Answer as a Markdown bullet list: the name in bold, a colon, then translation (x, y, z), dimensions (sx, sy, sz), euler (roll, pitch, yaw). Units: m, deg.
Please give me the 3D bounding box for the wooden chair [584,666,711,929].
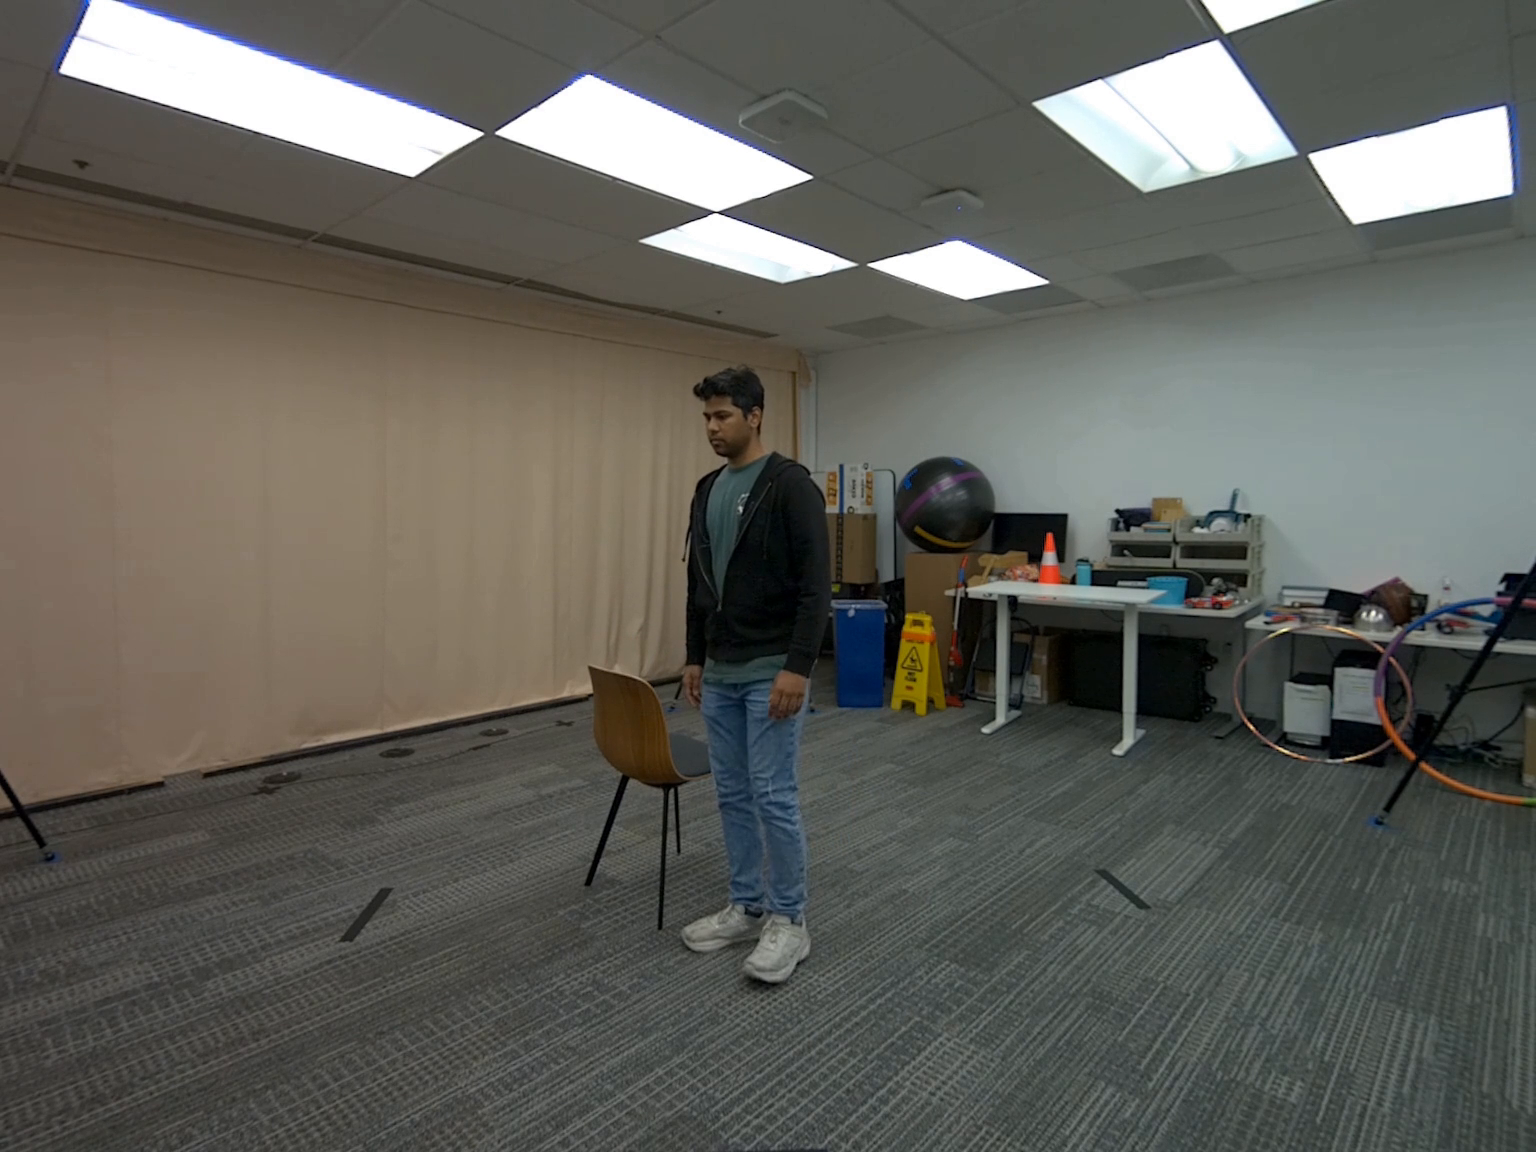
- **wooden chair**: translation (-0.353, 0.714, 3.059), dimensions (0.508, 0.874, 0.494), euler (-9, 8, -43)
